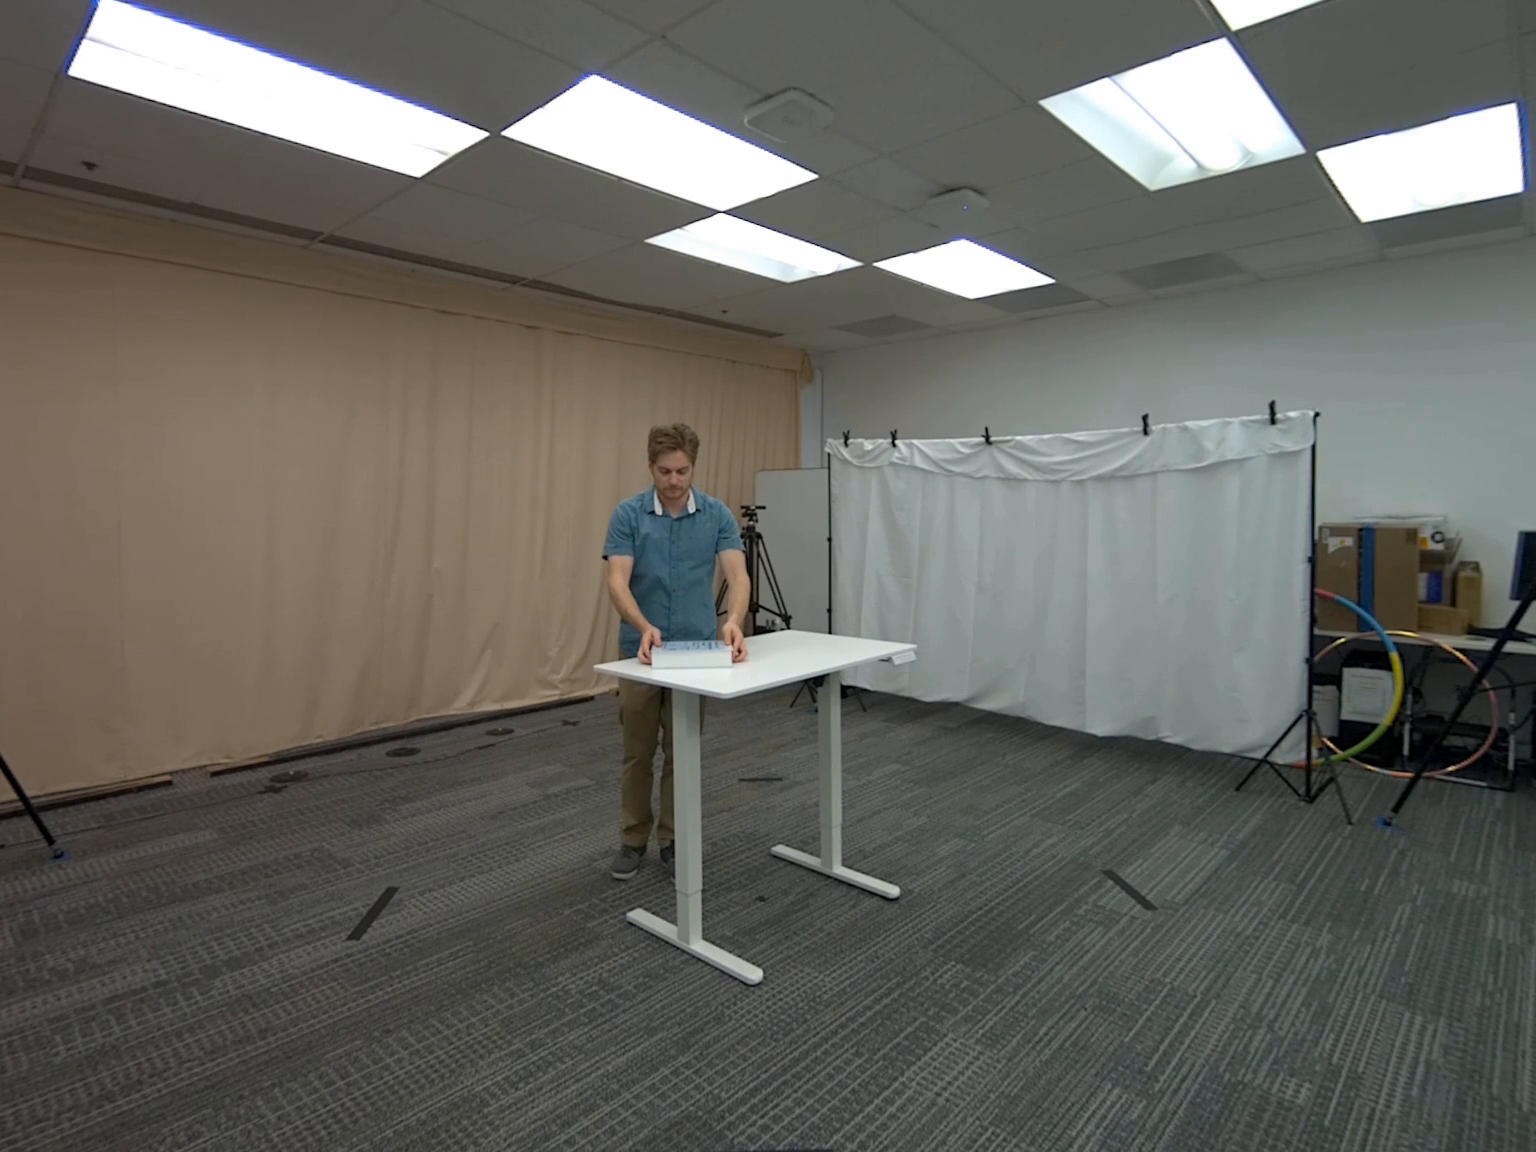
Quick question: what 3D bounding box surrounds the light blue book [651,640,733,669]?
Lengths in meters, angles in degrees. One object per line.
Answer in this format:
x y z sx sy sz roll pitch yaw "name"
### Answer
-0.259 0.258 2.743 0.260 0.059 0.193 -1 5 -5 "light blue book"
